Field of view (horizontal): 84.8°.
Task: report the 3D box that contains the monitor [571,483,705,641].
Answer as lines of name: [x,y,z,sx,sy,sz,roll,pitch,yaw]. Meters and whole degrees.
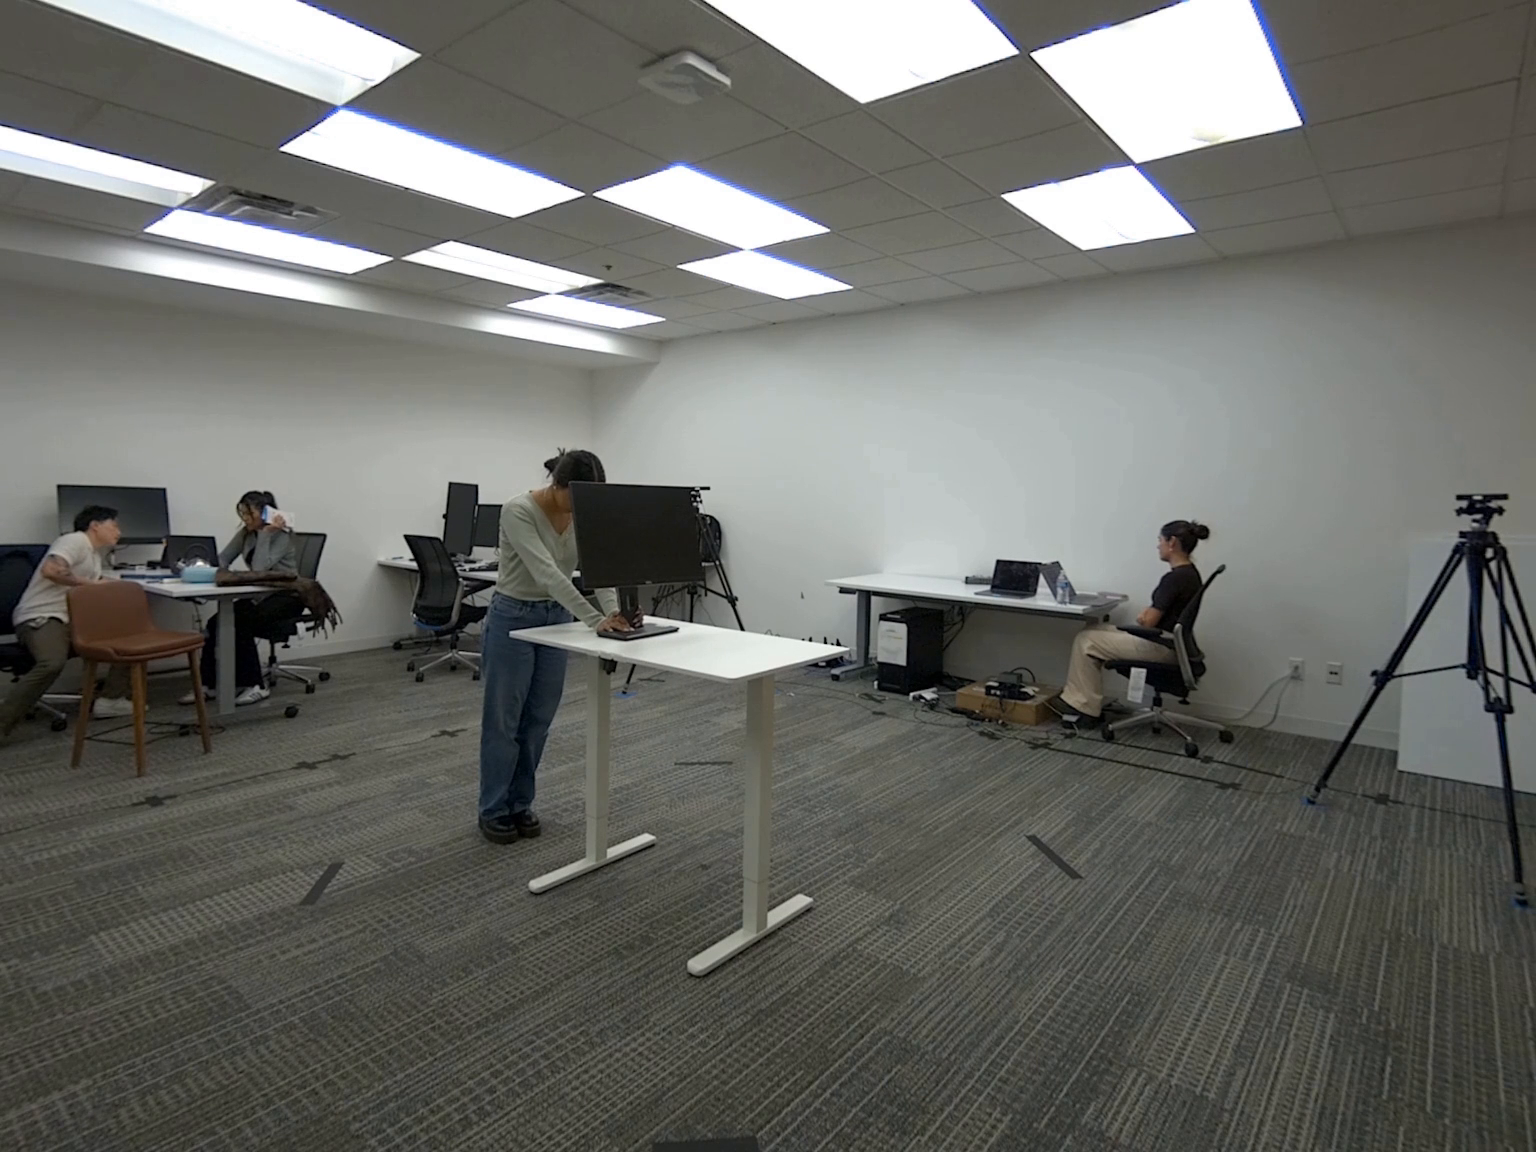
monitor: [-0.462,-0.058,2.926,0.193,0.521,0.523,5,5,44]
